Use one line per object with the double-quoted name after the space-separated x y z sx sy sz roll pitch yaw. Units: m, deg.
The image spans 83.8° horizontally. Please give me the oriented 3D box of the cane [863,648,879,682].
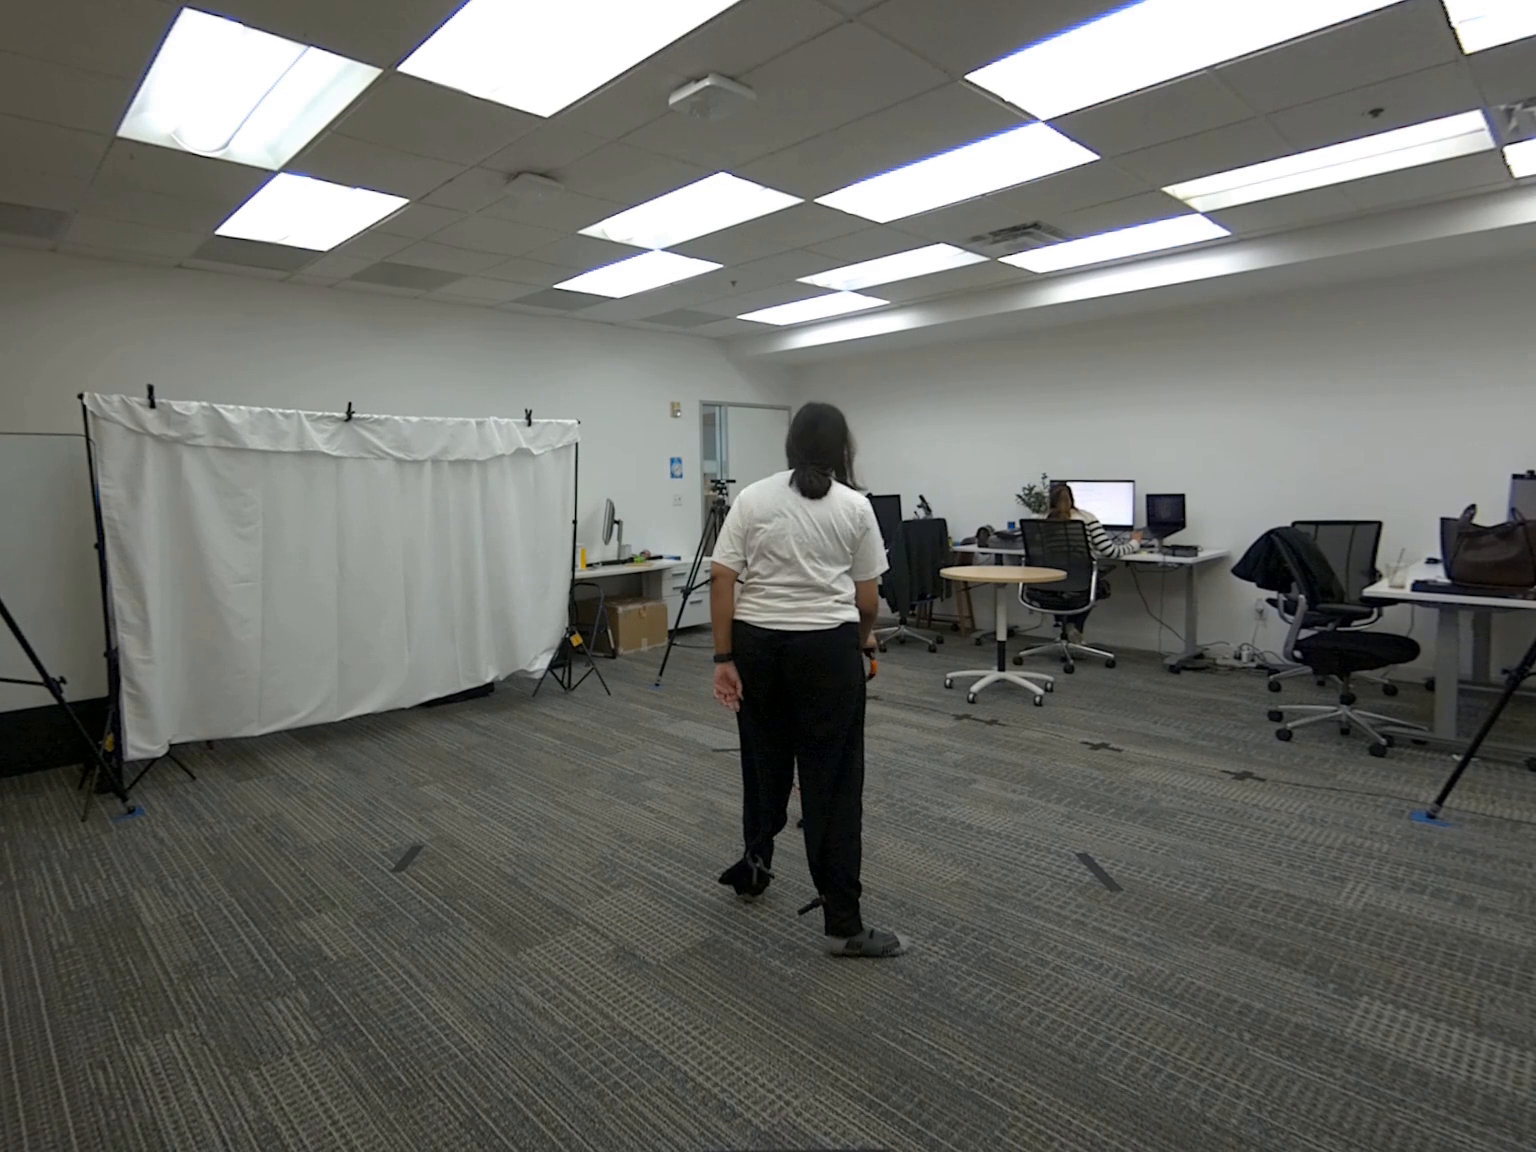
0.253 0.601 3.255 0.149 0.891 0.214 -4 41 -23 "cane"
